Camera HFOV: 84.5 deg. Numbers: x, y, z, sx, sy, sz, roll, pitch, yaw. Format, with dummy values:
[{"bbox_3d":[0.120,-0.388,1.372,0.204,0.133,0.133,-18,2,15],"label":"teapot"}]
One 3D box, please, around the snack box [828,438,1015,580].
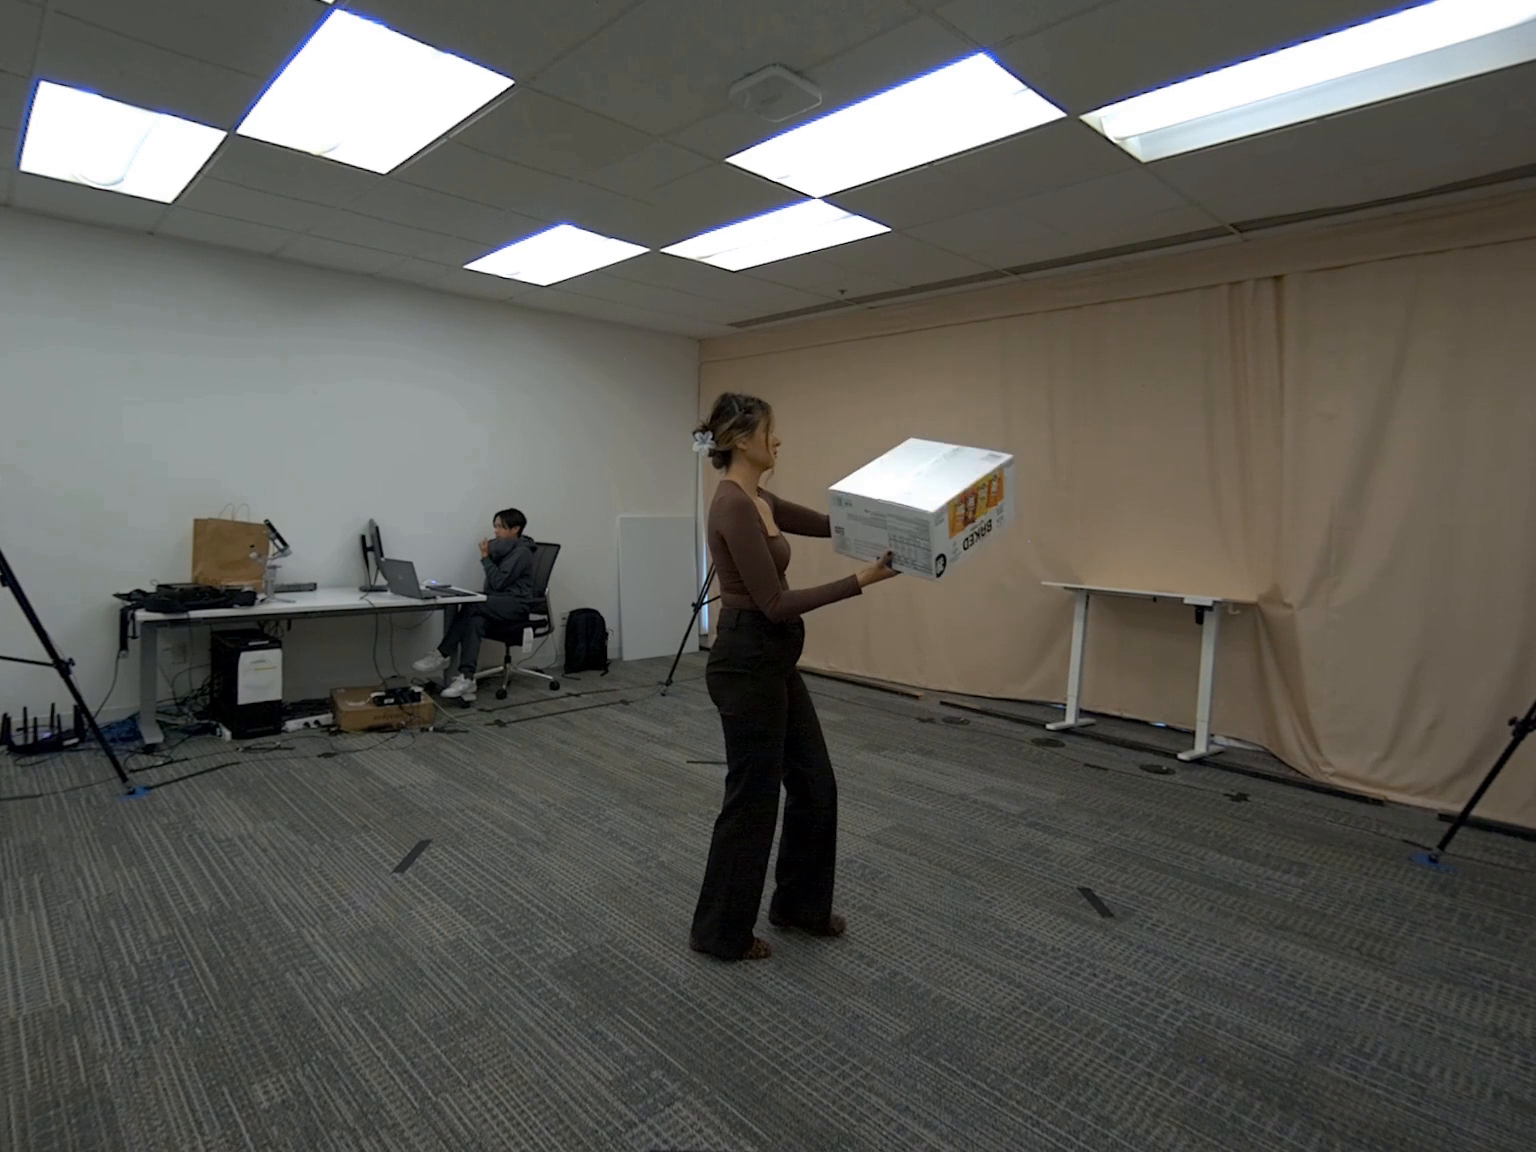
[{"bbox_3d":[0.425,-0.200,2.345,0.350,0.201,0.402,18,39,41],"label":"snack box"}]
